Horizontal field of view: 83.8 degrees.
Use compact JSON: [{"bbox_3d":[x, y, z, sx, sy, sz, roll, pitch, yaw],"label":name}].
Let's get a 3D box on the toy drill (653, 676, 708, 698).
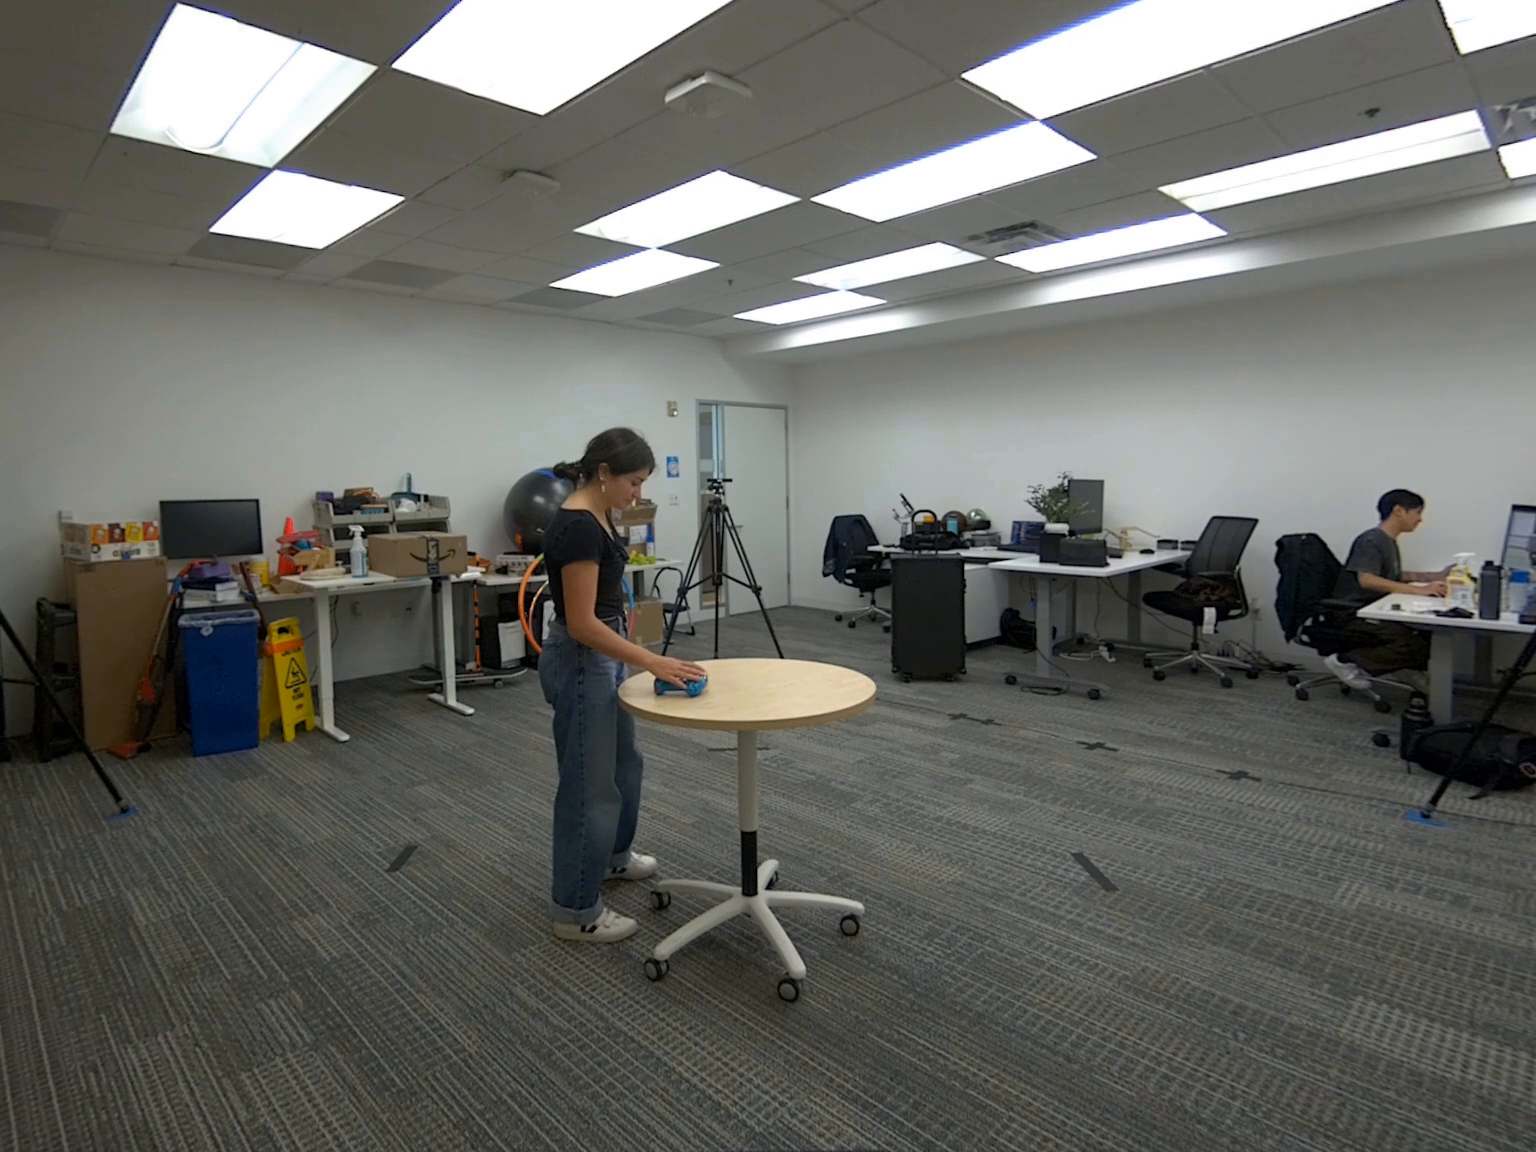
[{"bbox_3d":[-0.242,0.308,2.488,0.147,0.060,0.170,-3,13,10],"label":"toy drill"}]
